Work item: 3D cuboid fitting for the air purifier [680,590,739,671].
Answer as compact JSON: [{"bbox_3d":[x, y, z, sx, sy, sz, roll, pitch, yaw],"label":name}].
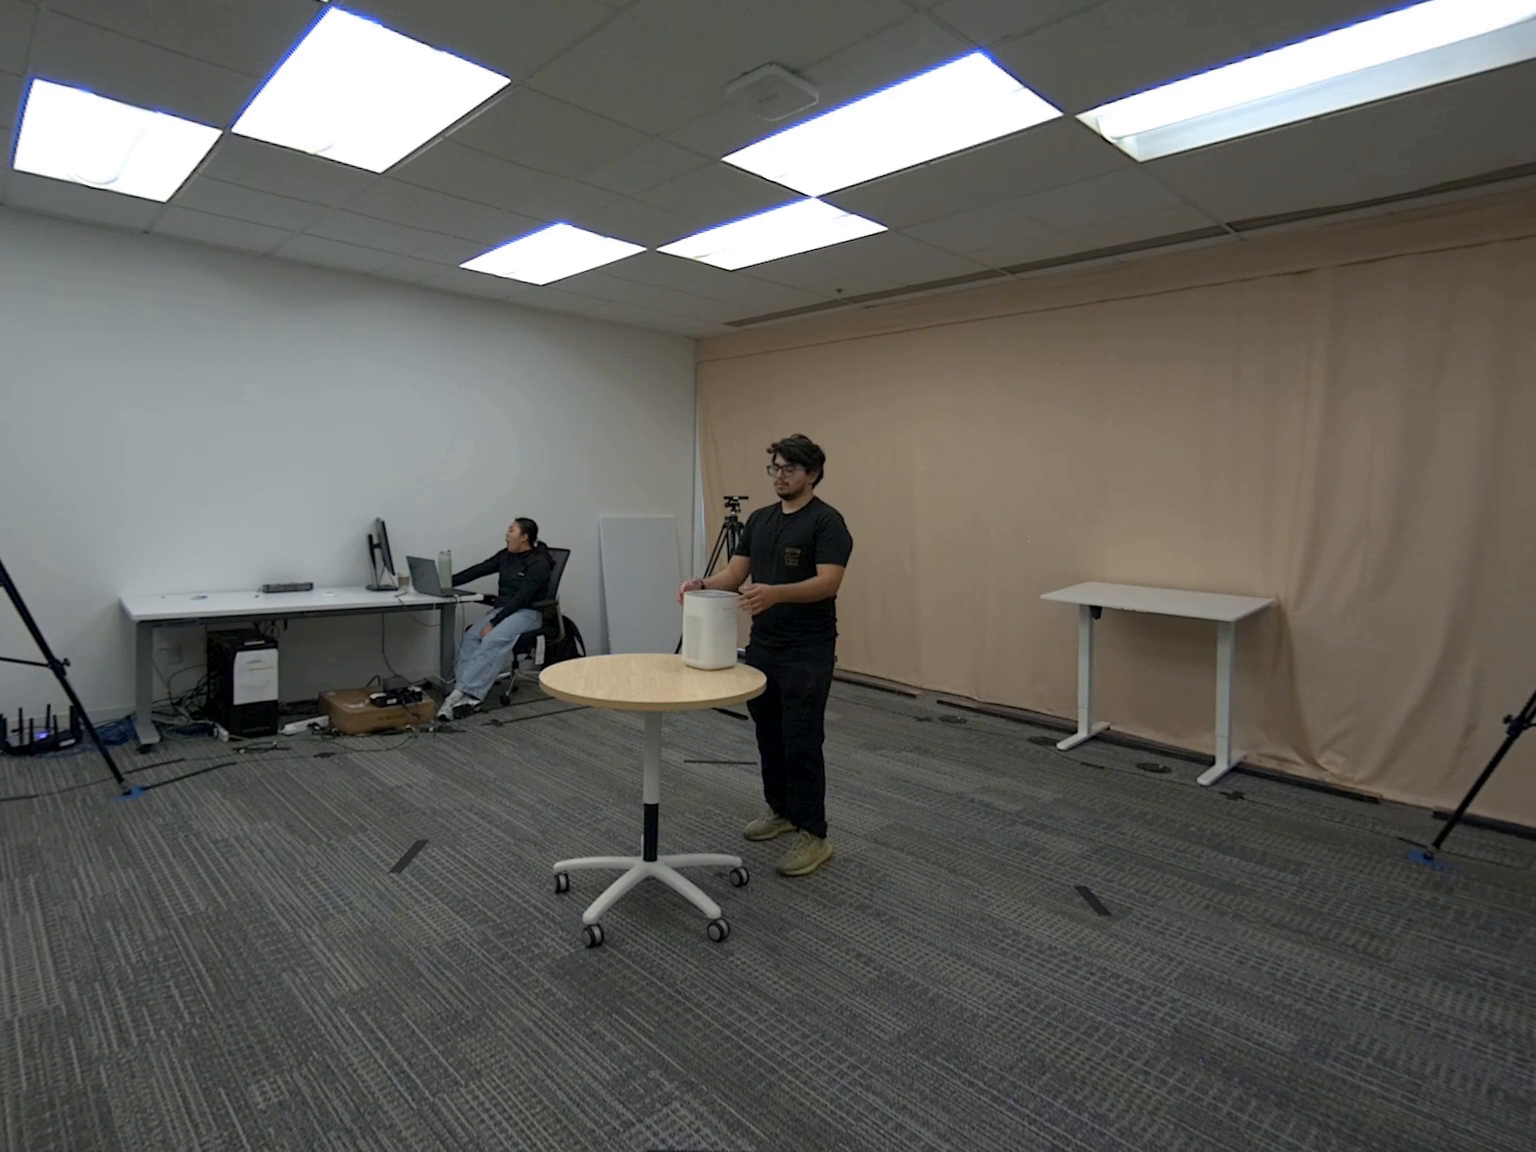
[{"bbox_3d":[-0.212,0.194,3.027,0.167,0.265,0.176,0,4,-45],"label":"air purifier"}]
